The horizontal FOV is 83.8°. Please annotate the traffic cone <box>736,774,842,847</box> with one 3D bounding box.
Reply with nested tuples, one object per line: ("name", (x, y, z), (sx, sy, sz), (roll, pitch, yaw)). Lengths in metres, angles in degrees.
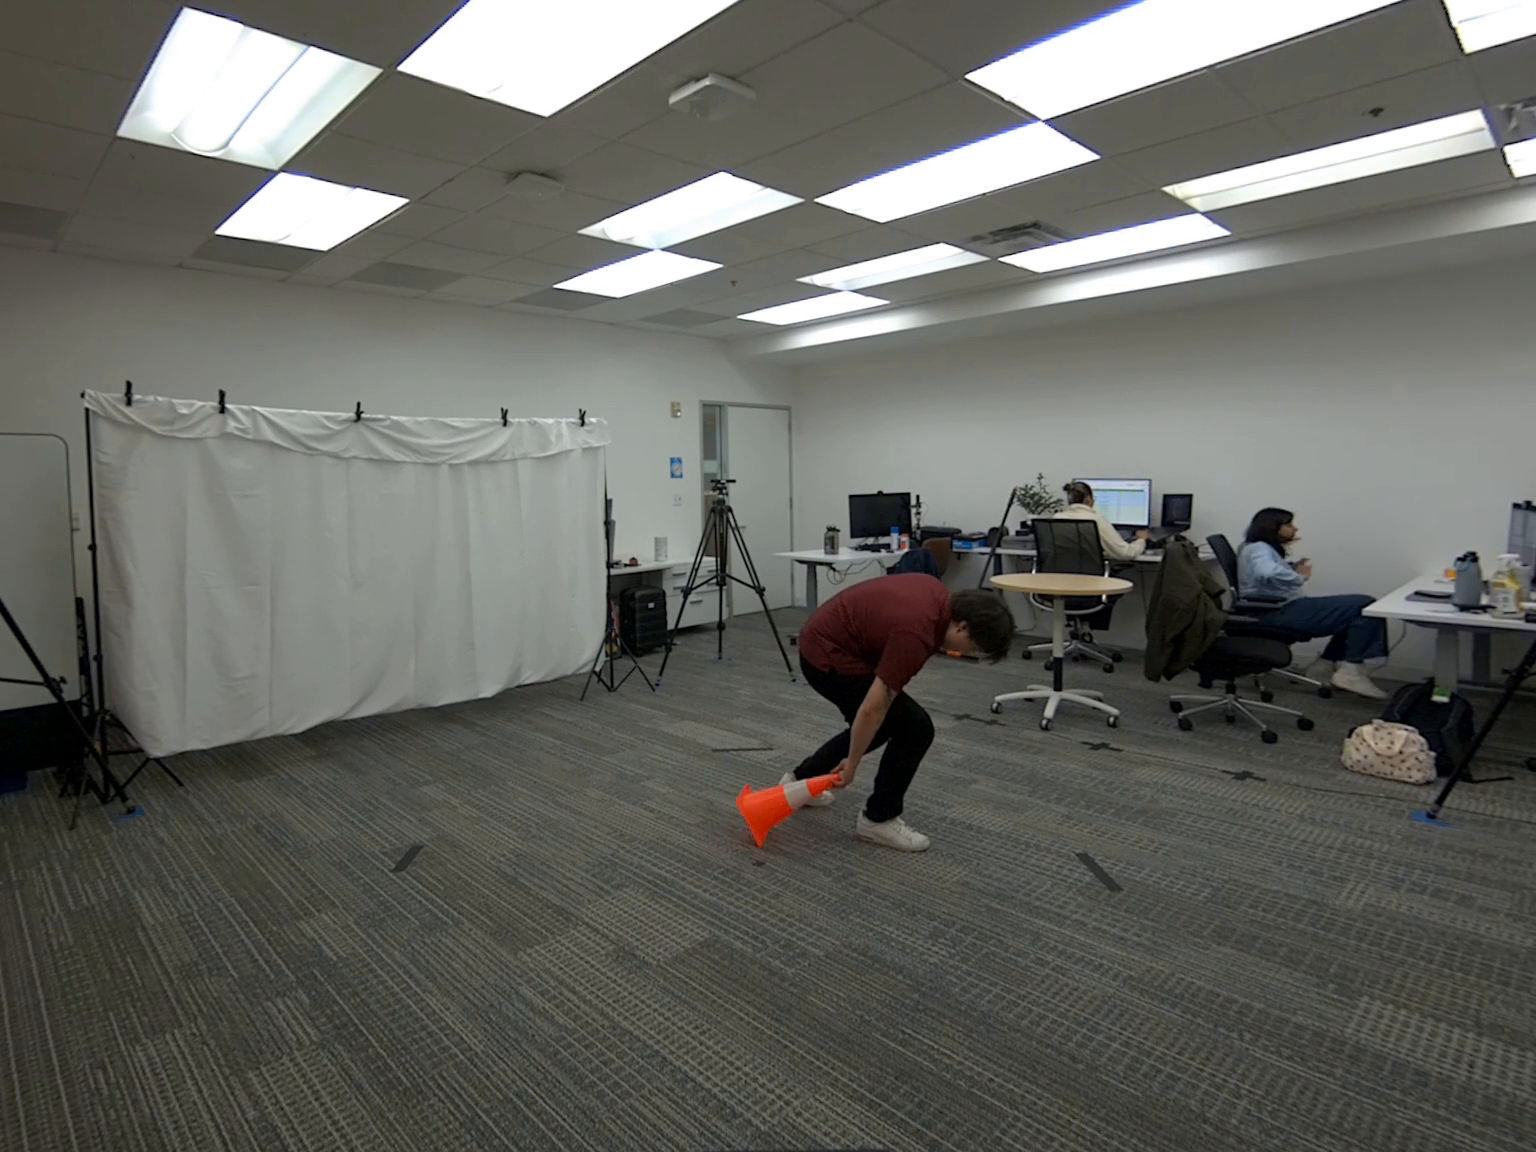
("traffic cone", (0.114, 0.849, 3.290), (0.385, 0.206, 0.201), (-28, -9, 10))
